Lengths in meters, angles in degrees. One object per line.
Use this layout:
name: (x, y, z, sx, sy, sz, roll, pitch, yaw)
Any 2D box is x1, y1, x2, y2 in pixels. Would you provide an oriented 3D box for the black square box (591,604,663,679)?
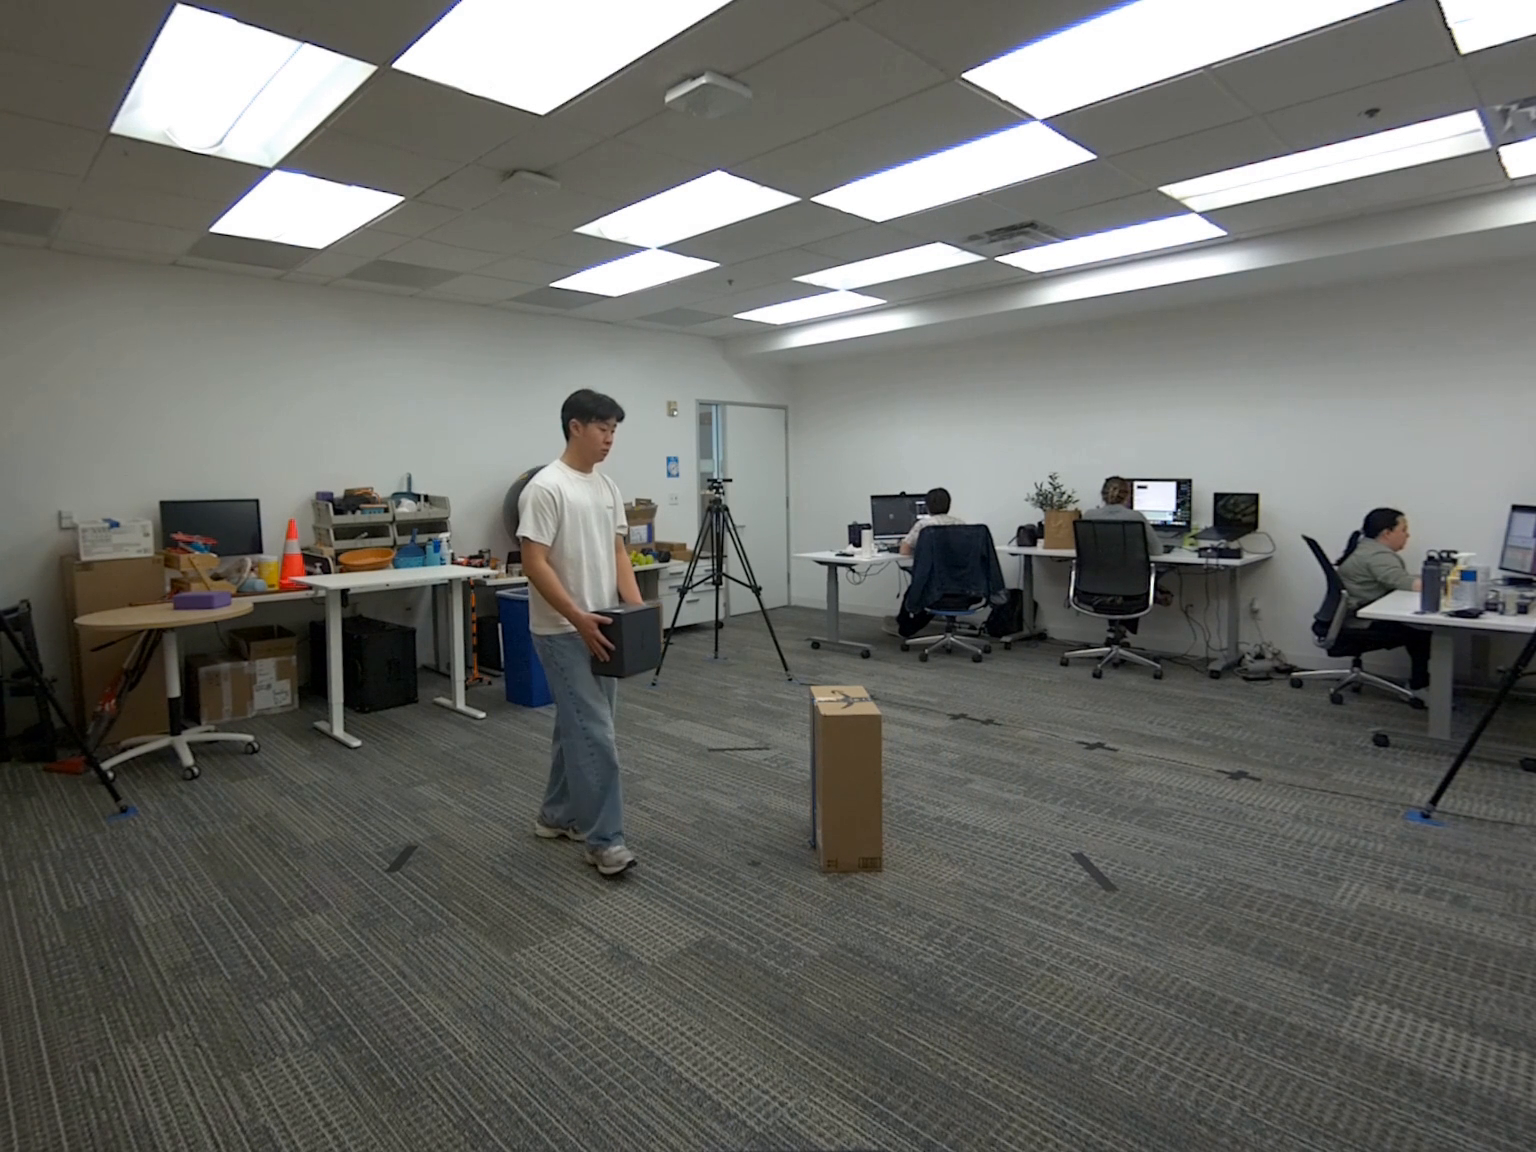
black square box: (-0.510, 0.227, 3.089, 0.160, 0.227, 0.212, 2, 5, 31)
